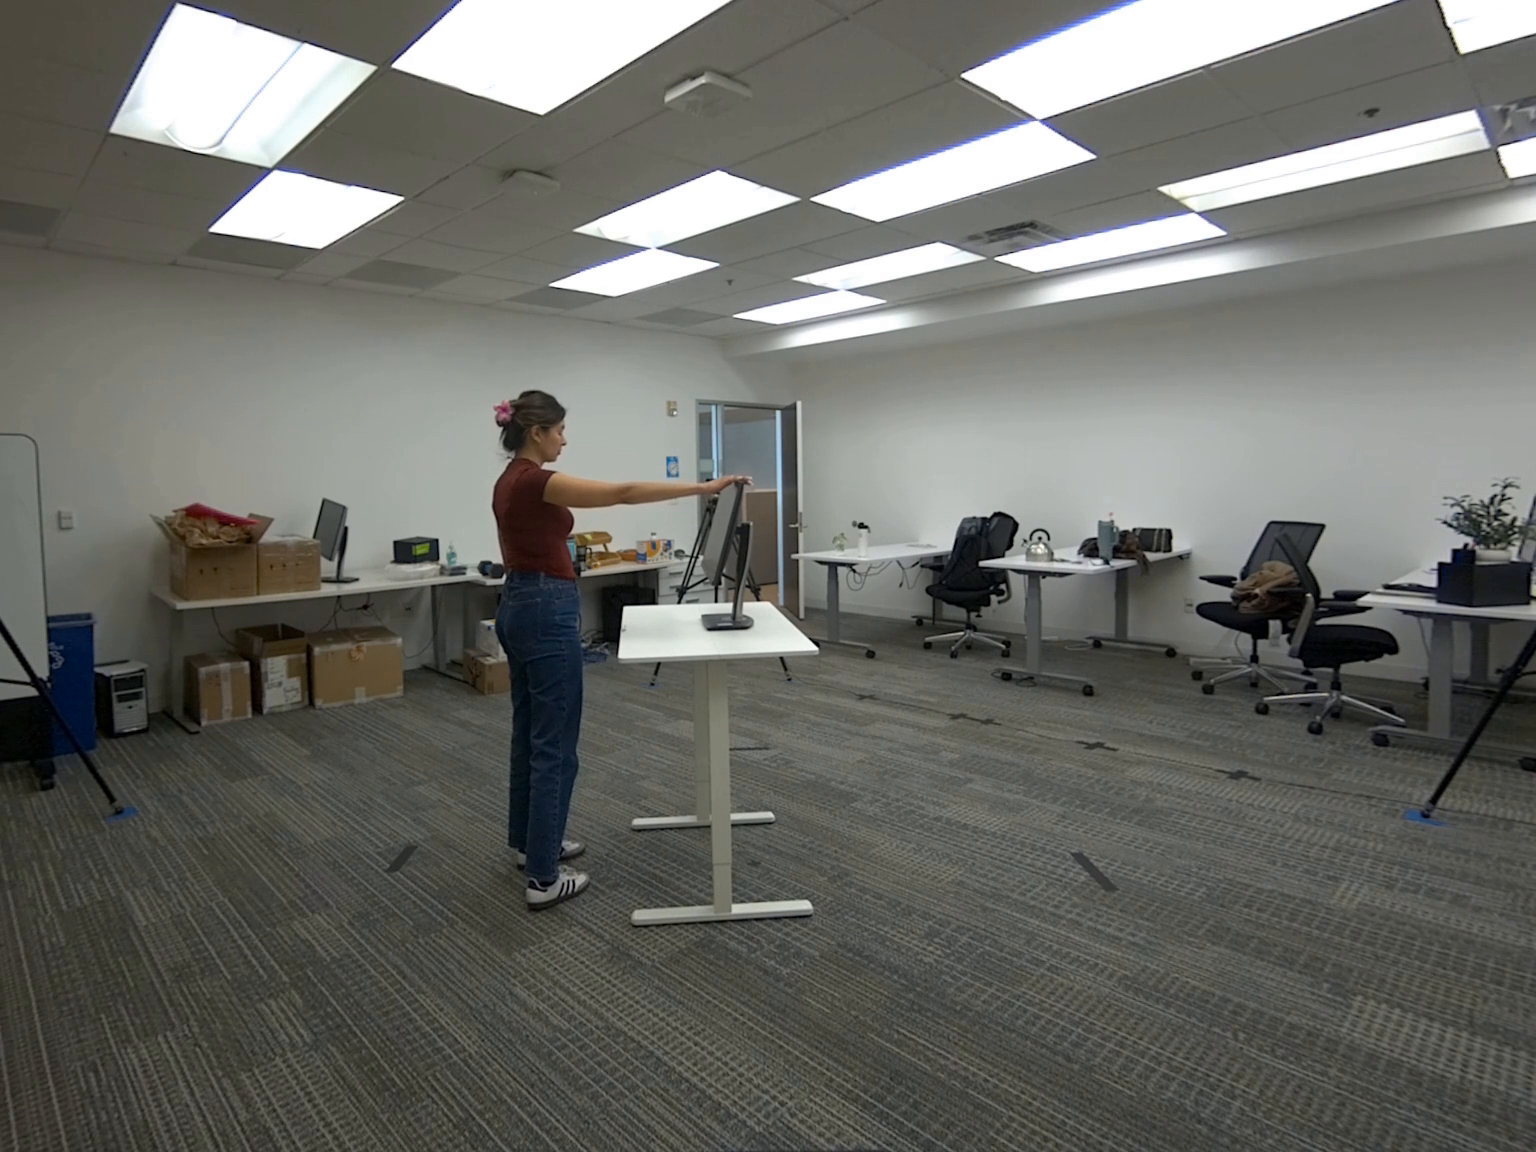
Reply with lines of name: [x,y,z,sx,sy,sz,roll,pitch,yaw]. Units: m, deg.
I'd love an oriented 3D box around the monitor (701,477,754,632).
monitor: [-0.138,-0.082,3.043,0.185,0.520,0.546,1,6,-10]
